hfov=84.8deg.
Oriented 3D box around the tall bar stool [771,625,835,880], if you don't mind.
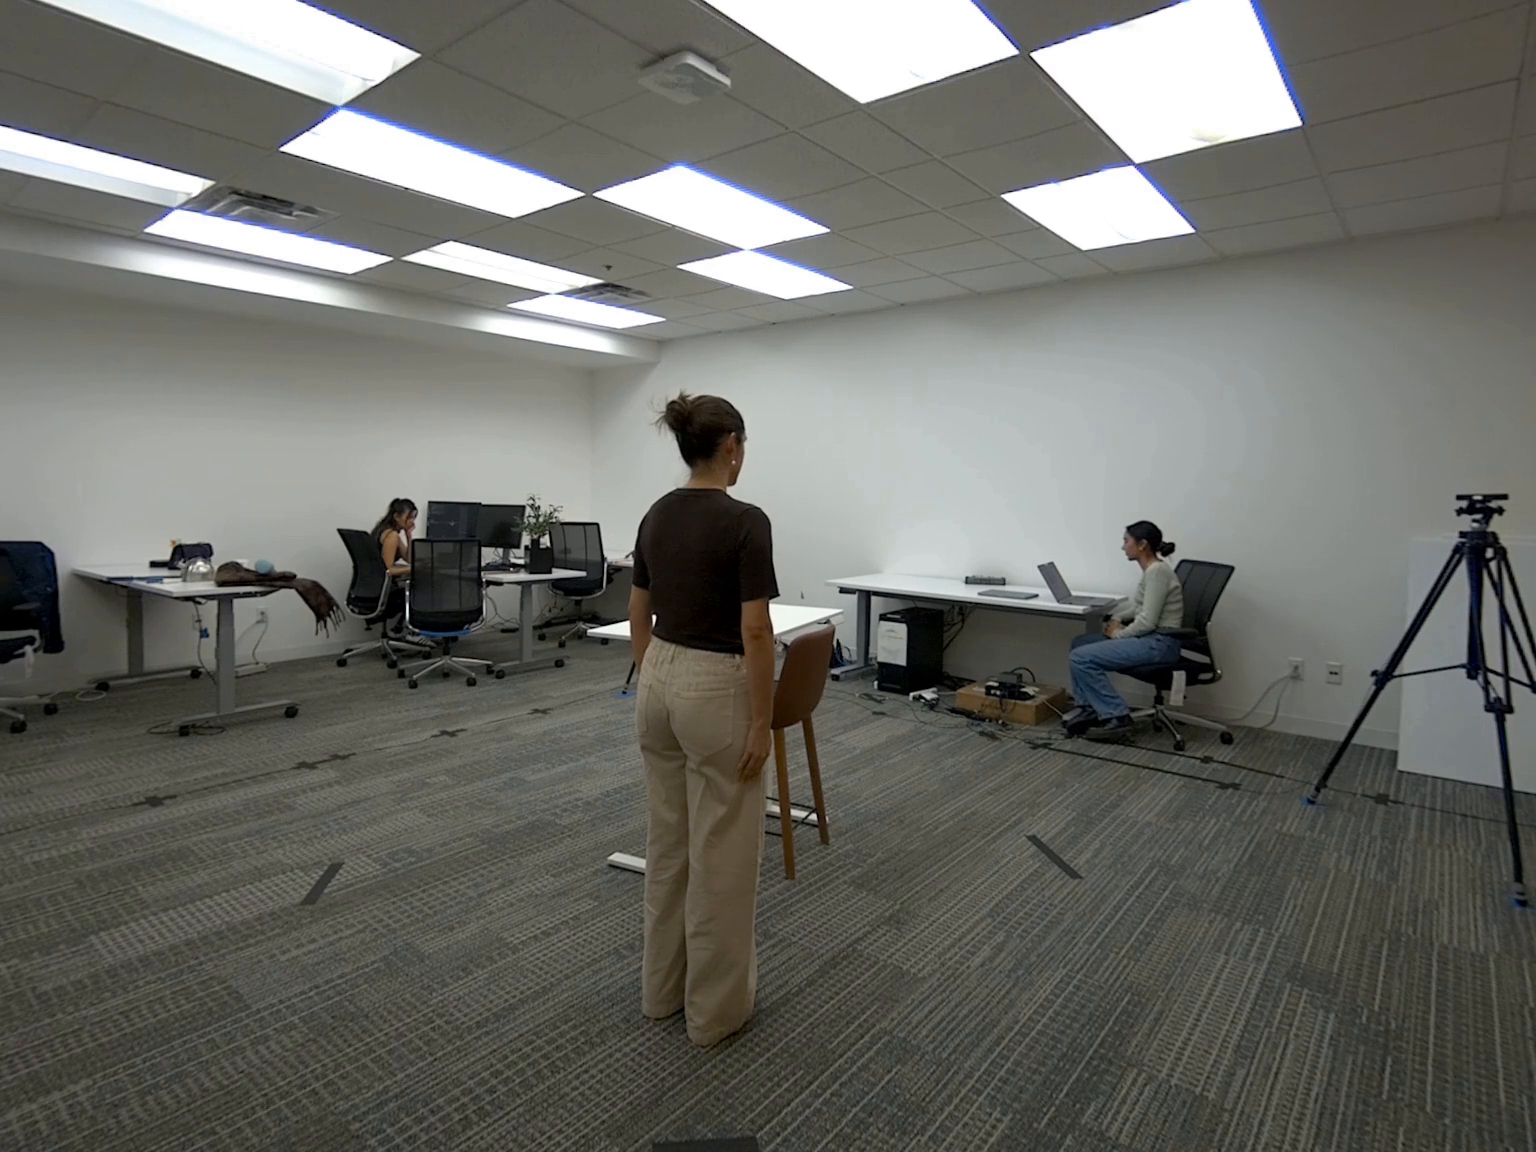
[{"bbox_3d":[-0.031,0.619,3.264,0.481,0.886,0.446,4,5,27],"label":"tall bar stool"}]
